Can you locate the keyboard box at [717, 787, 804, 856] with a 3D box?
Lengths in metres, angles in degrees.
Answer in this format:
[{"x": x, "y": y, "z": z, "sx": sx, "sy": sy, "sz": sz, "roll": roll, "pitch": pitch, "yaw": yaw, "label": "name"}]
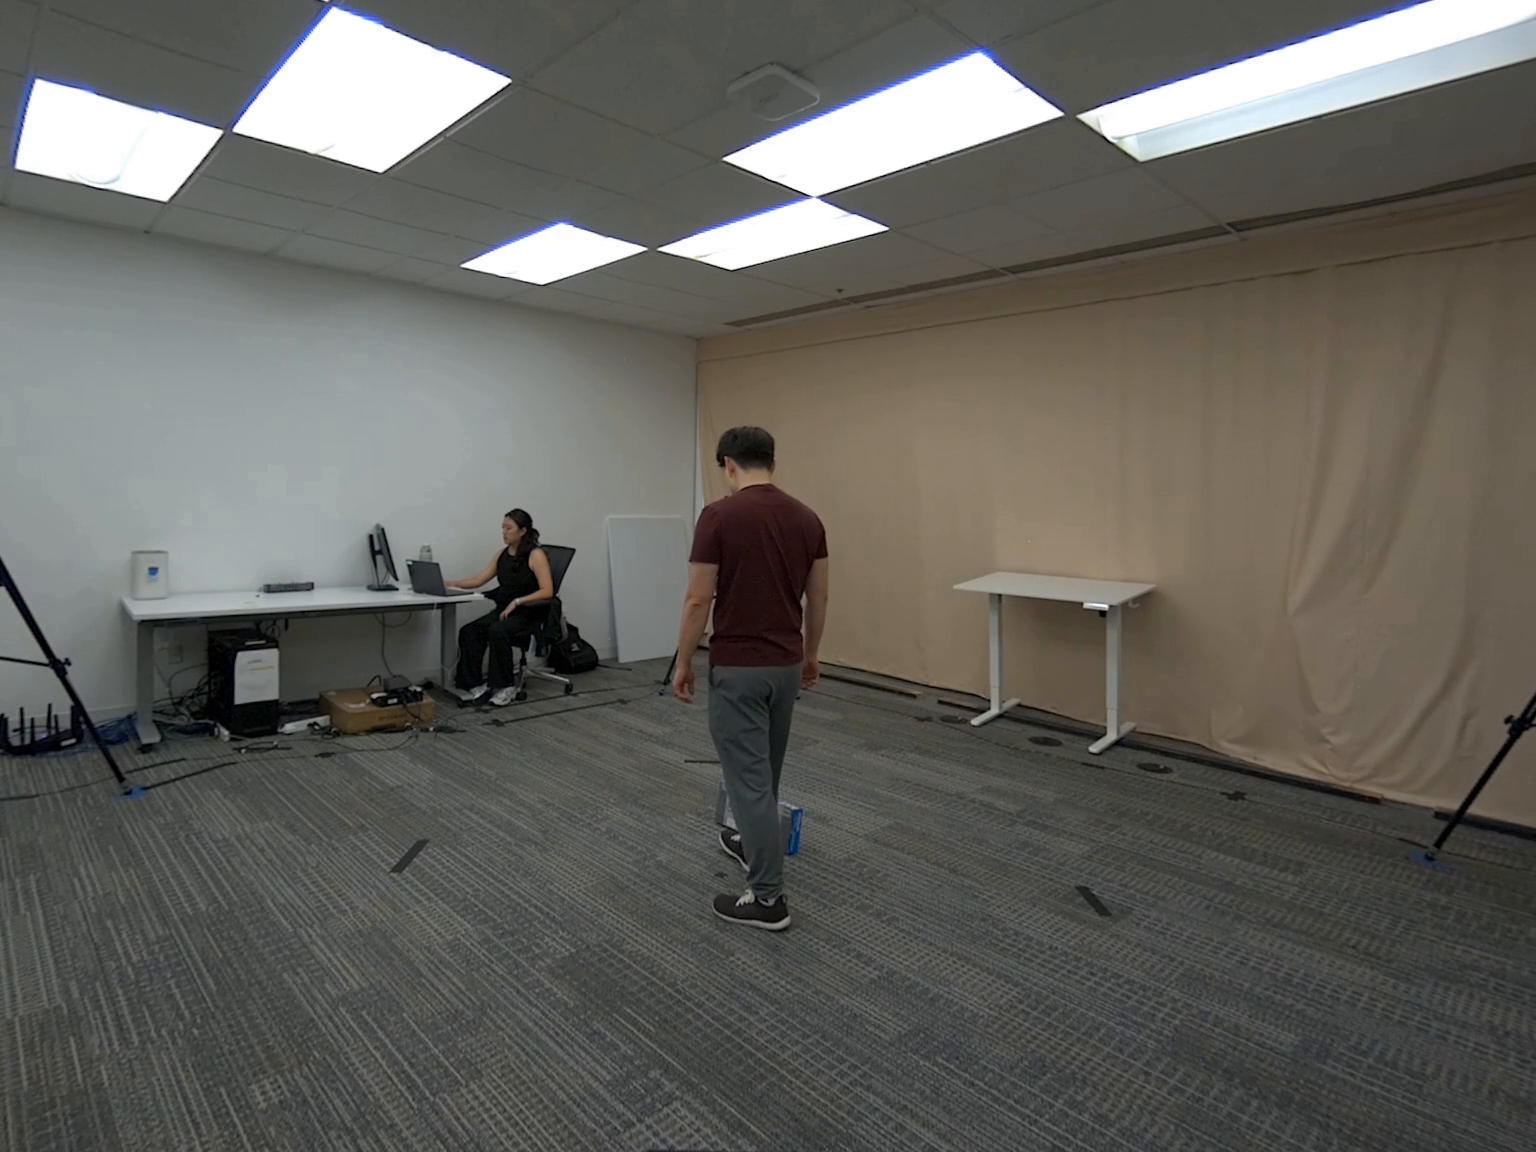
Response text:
[{"x": -0.053, "y": 0.989, "z": 3.465, "sx": 0.057, "sy": 0.176, "sz": 0.448, "roll": 10, "pitch": -2, "yaw": -43, "label": "keyboard box"}]
